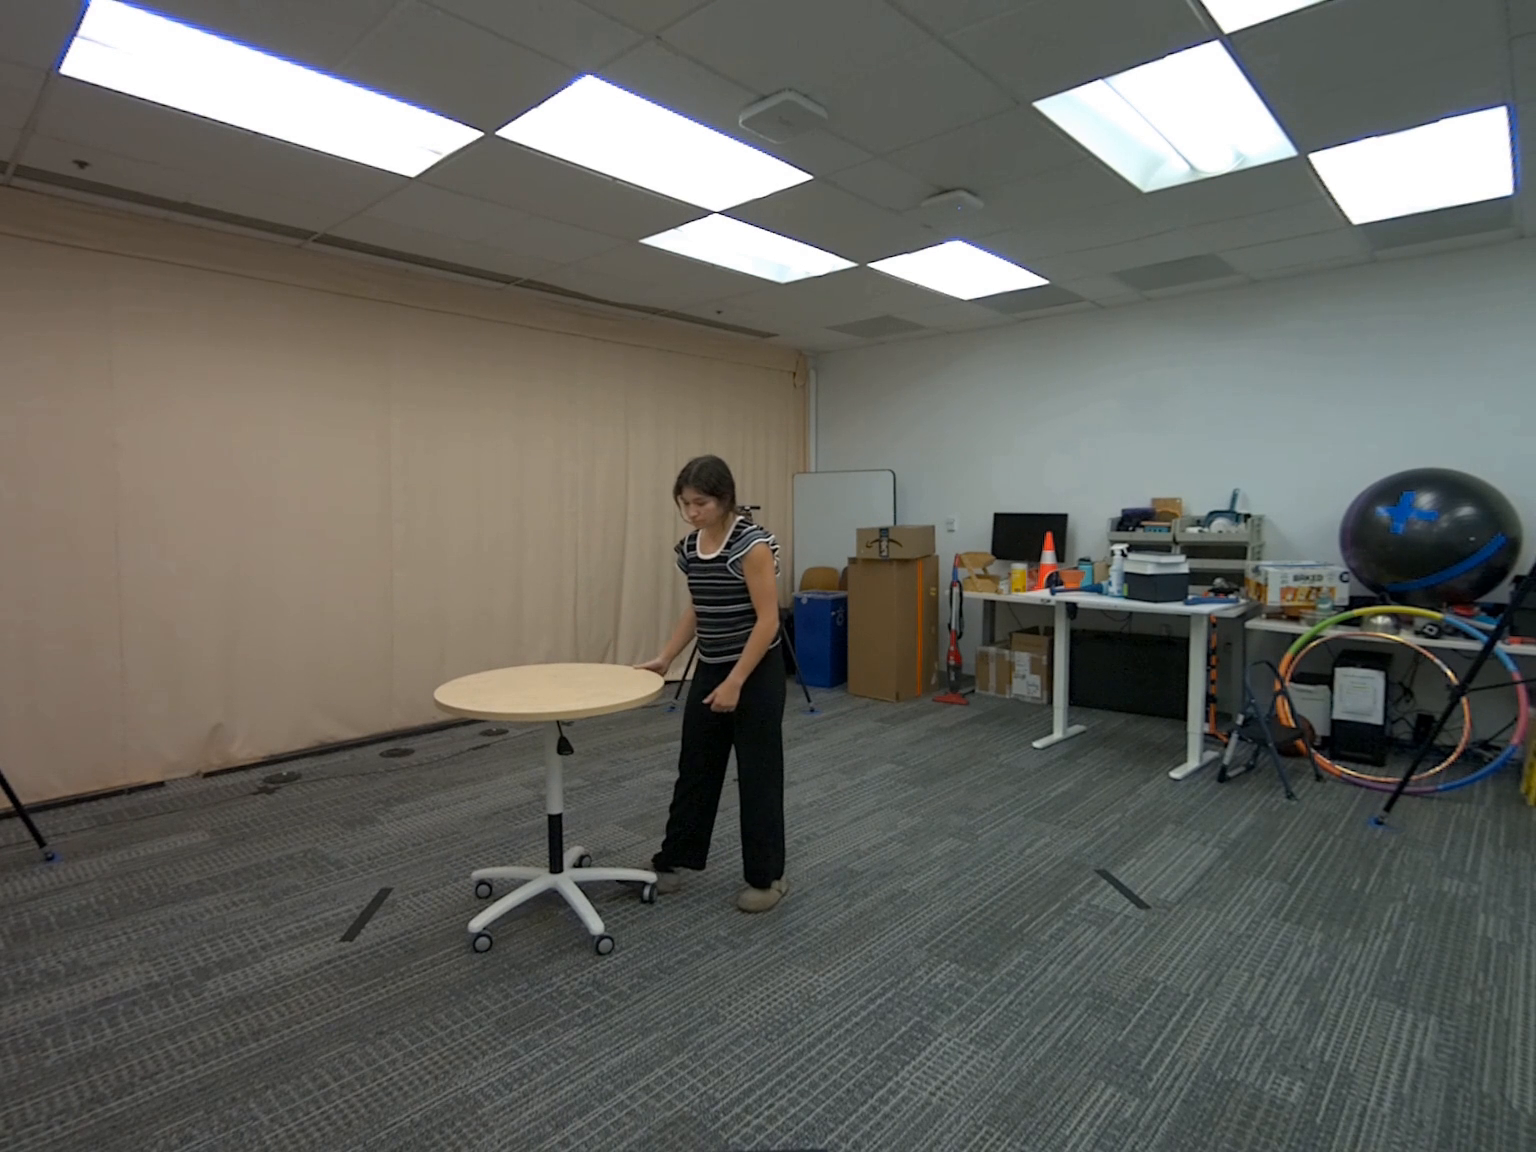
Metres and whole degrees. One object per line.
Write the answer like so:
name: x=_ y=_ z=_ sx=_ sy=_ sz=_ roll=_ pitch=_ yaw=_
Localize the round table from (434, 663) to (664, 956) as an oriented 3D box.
round table: x=-0.734 y=0.770 z=2.889 sx=0.763 sy=0.792 sz=0.766 roll=-1 pitch=4 yaw=-2
